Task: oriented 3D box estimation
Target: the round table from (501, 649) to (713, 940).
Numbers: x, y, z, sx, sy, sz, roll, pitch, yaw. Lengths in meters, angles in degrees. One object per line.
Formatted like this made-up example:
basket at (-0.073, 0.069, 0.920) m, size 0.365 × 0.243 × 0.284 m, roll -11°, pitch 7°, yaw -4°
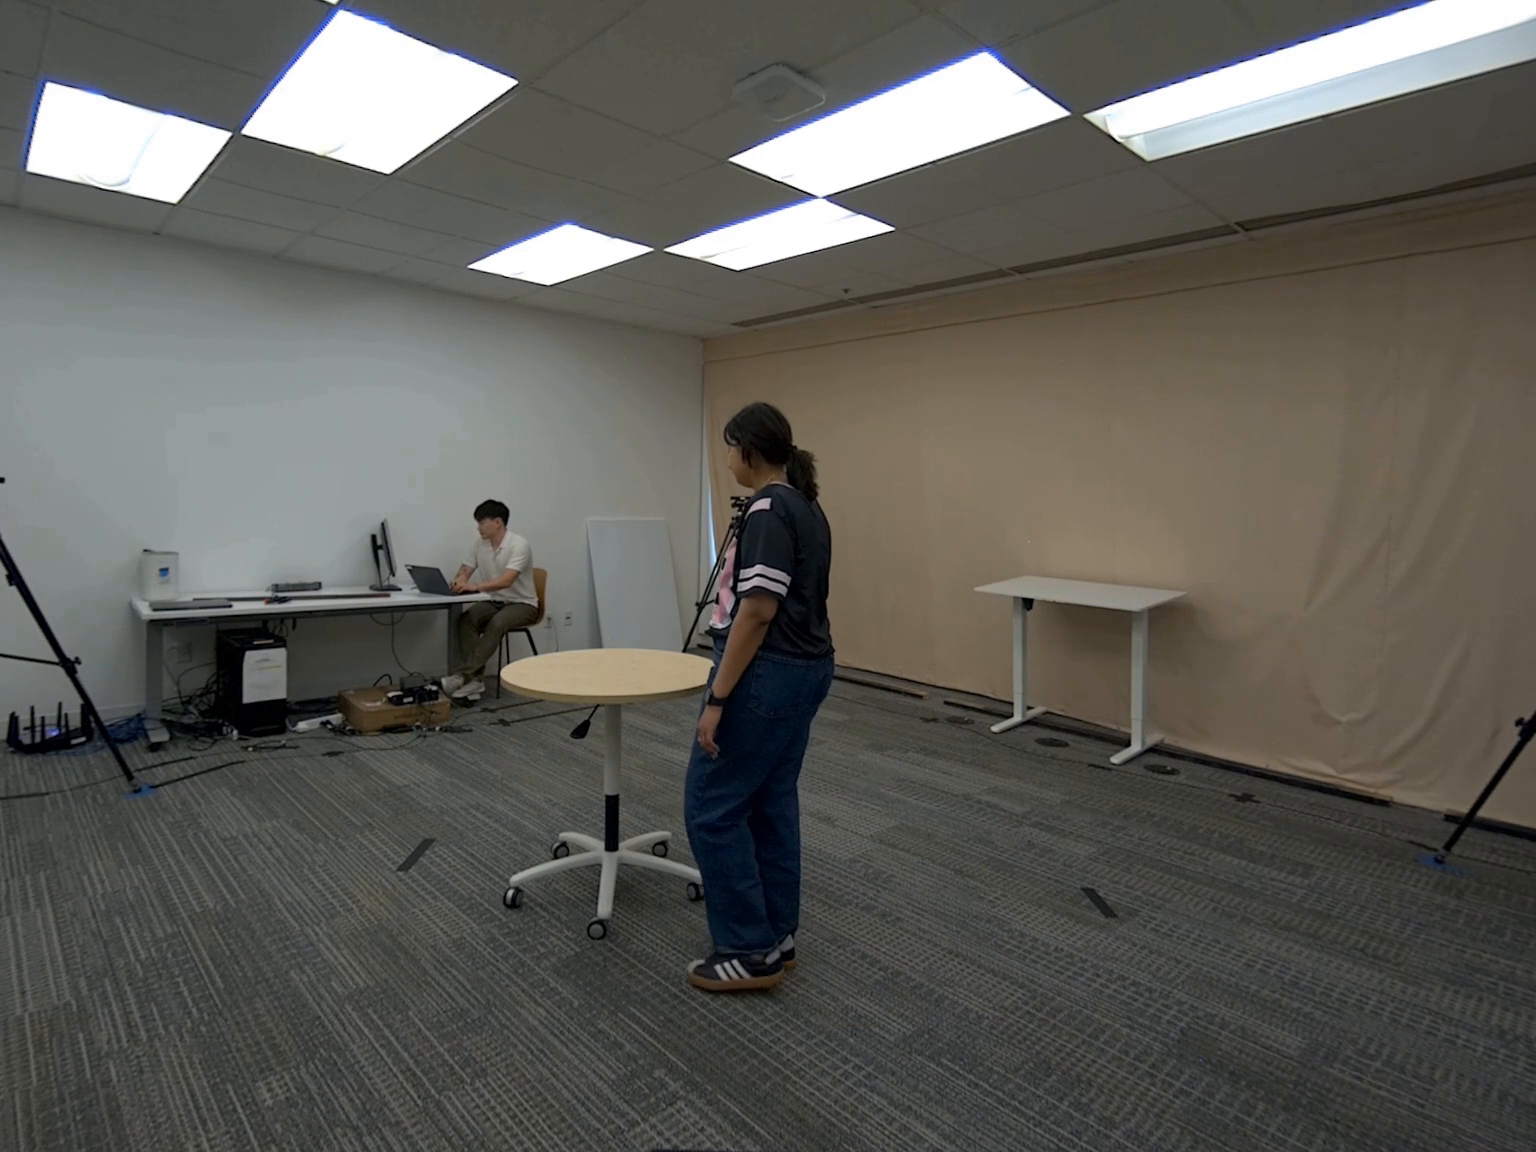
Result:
round table at (-0.559, 0.718, 2.949) m, size 0.784 × 0.784 × 0.788 m, roll 1°, pitch 4°, yaw -1°
